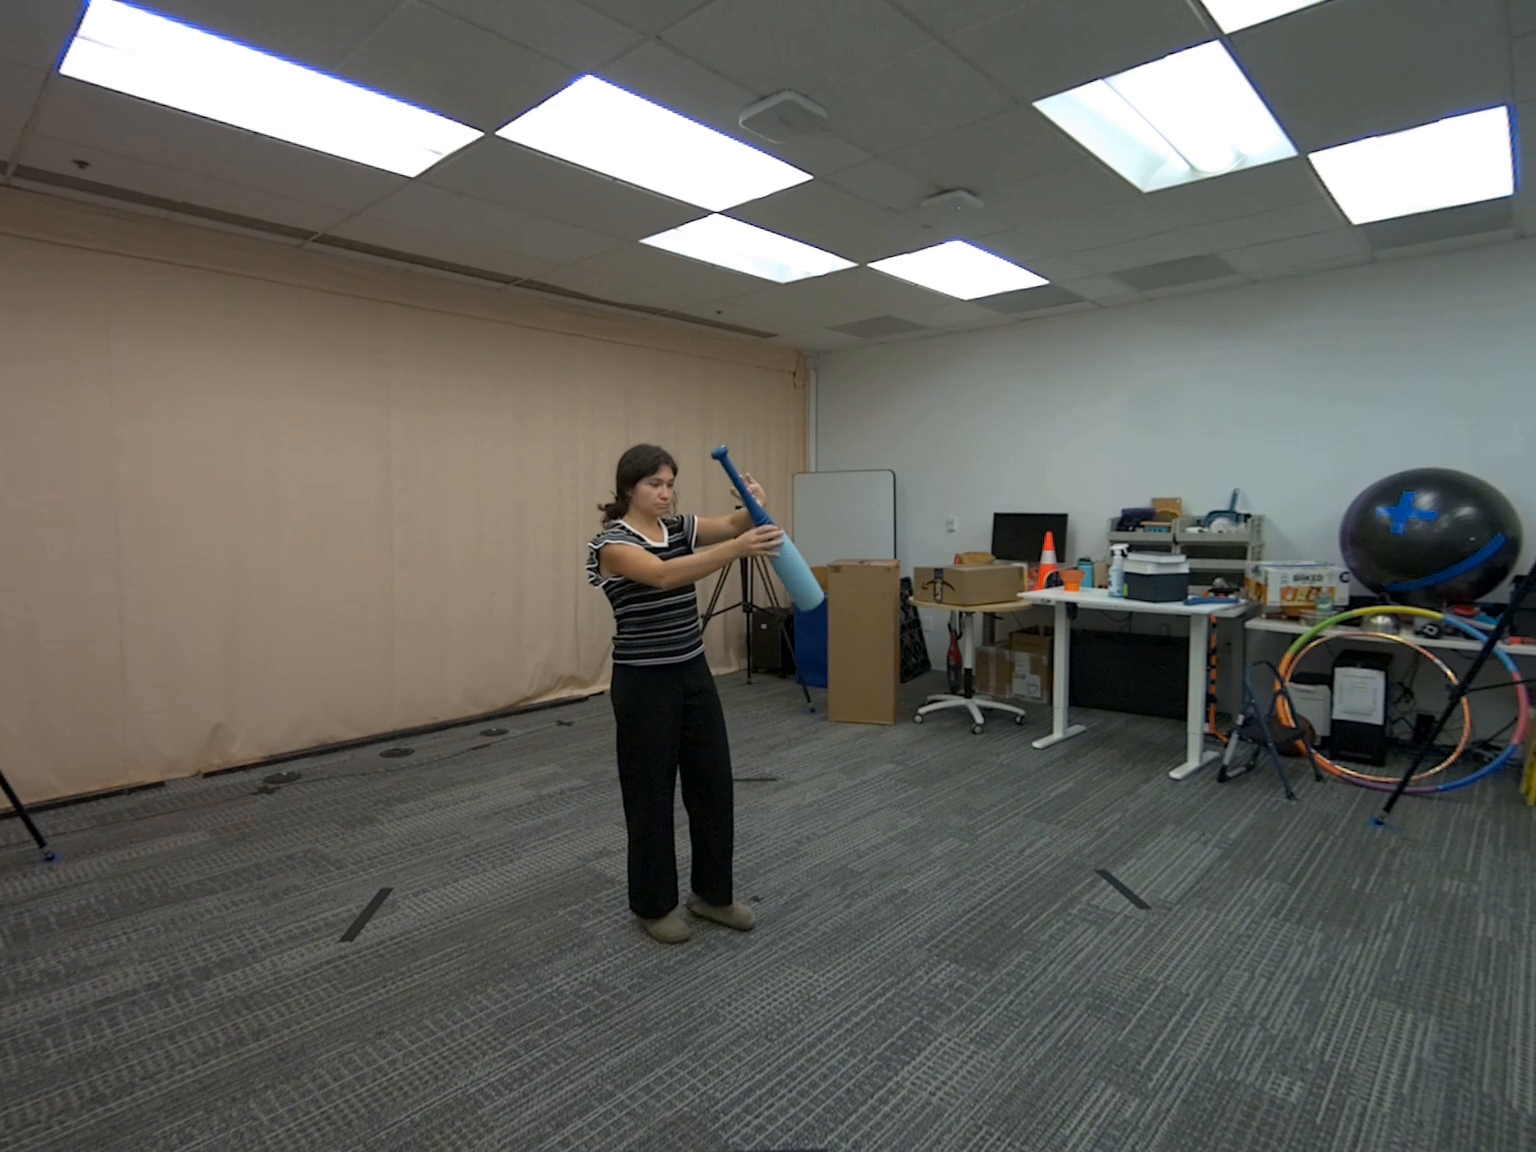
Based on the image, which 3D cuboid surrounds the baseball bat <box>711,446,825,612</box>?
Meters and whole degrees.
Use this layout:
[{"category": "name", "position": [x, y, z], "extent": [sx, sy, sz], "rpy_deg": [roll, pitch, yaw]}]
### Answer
[{"category": "baseball bat", "position": [-0.003, -0.137, 2.348], "extent": [0.089, 0.532, 0.090], "rpy_deg": [-27, 19, 9]}]
